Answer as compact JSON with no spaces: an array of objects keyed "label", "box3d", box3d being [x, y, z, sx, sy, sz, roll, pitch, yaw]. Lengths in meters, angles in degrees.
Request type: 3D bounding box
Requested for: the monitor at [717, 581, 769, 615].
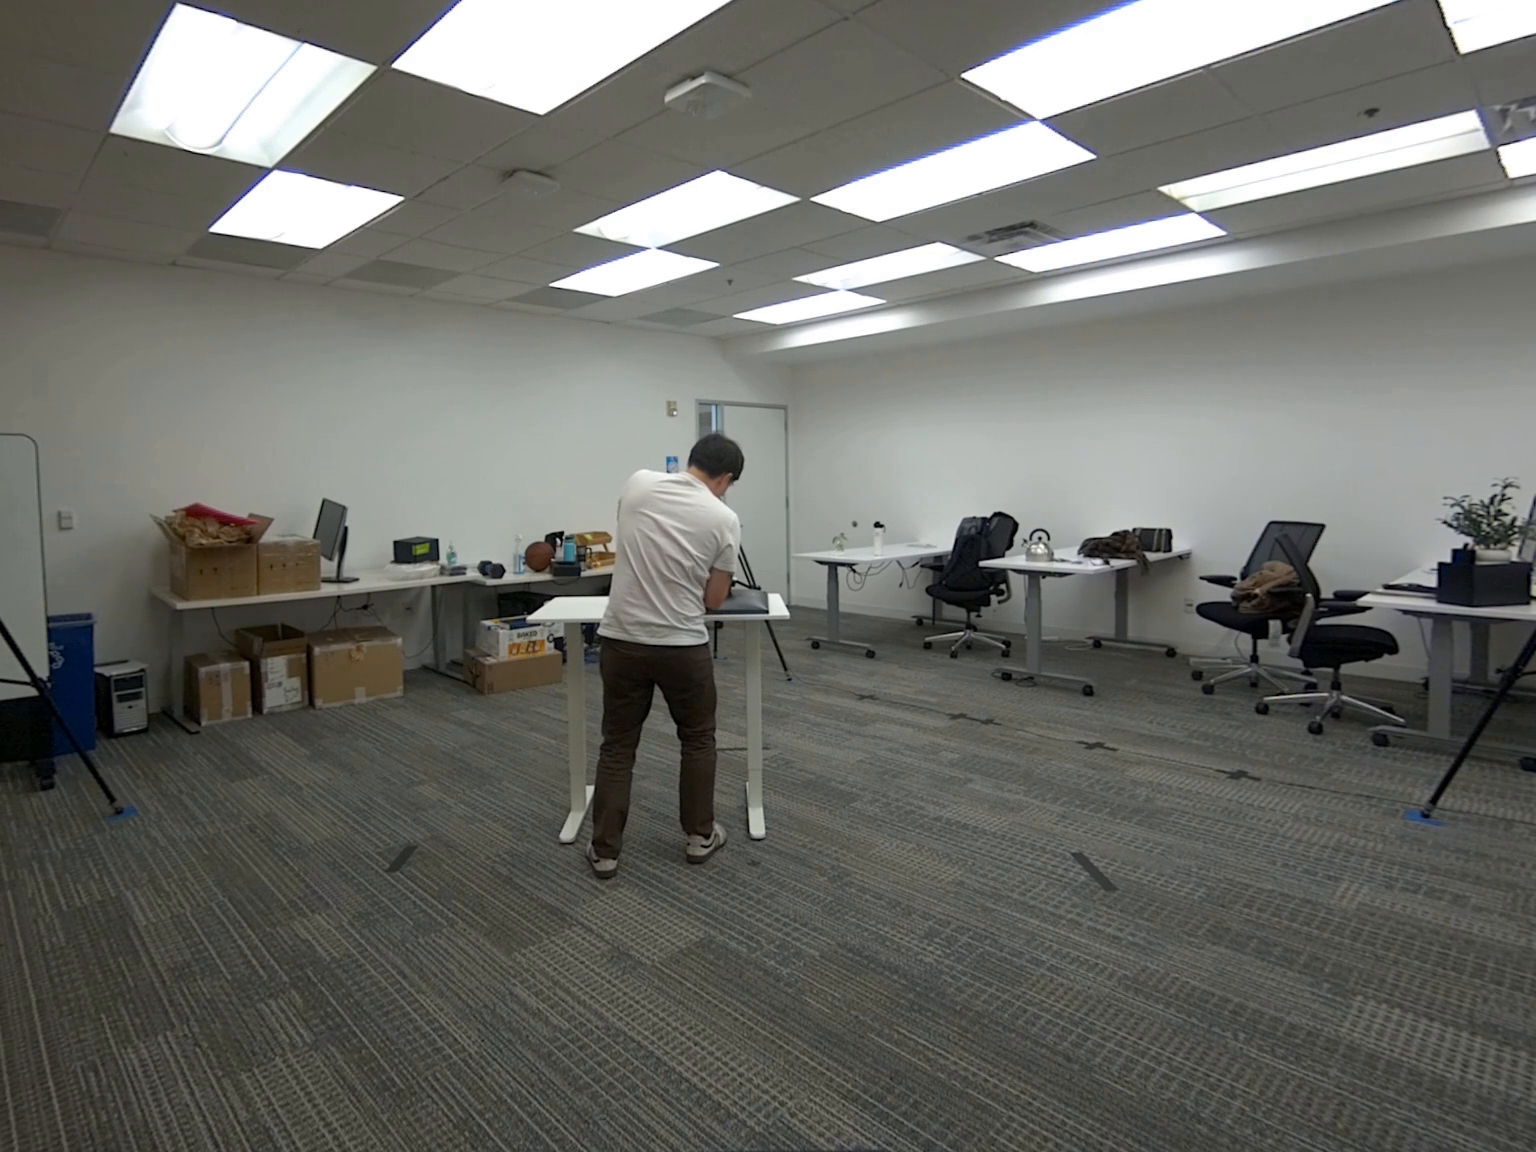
[{"label":"monitor","box3d":[-0.243,0.054,3.537,0.523,0.186,0.541,16,6,-1]}]
